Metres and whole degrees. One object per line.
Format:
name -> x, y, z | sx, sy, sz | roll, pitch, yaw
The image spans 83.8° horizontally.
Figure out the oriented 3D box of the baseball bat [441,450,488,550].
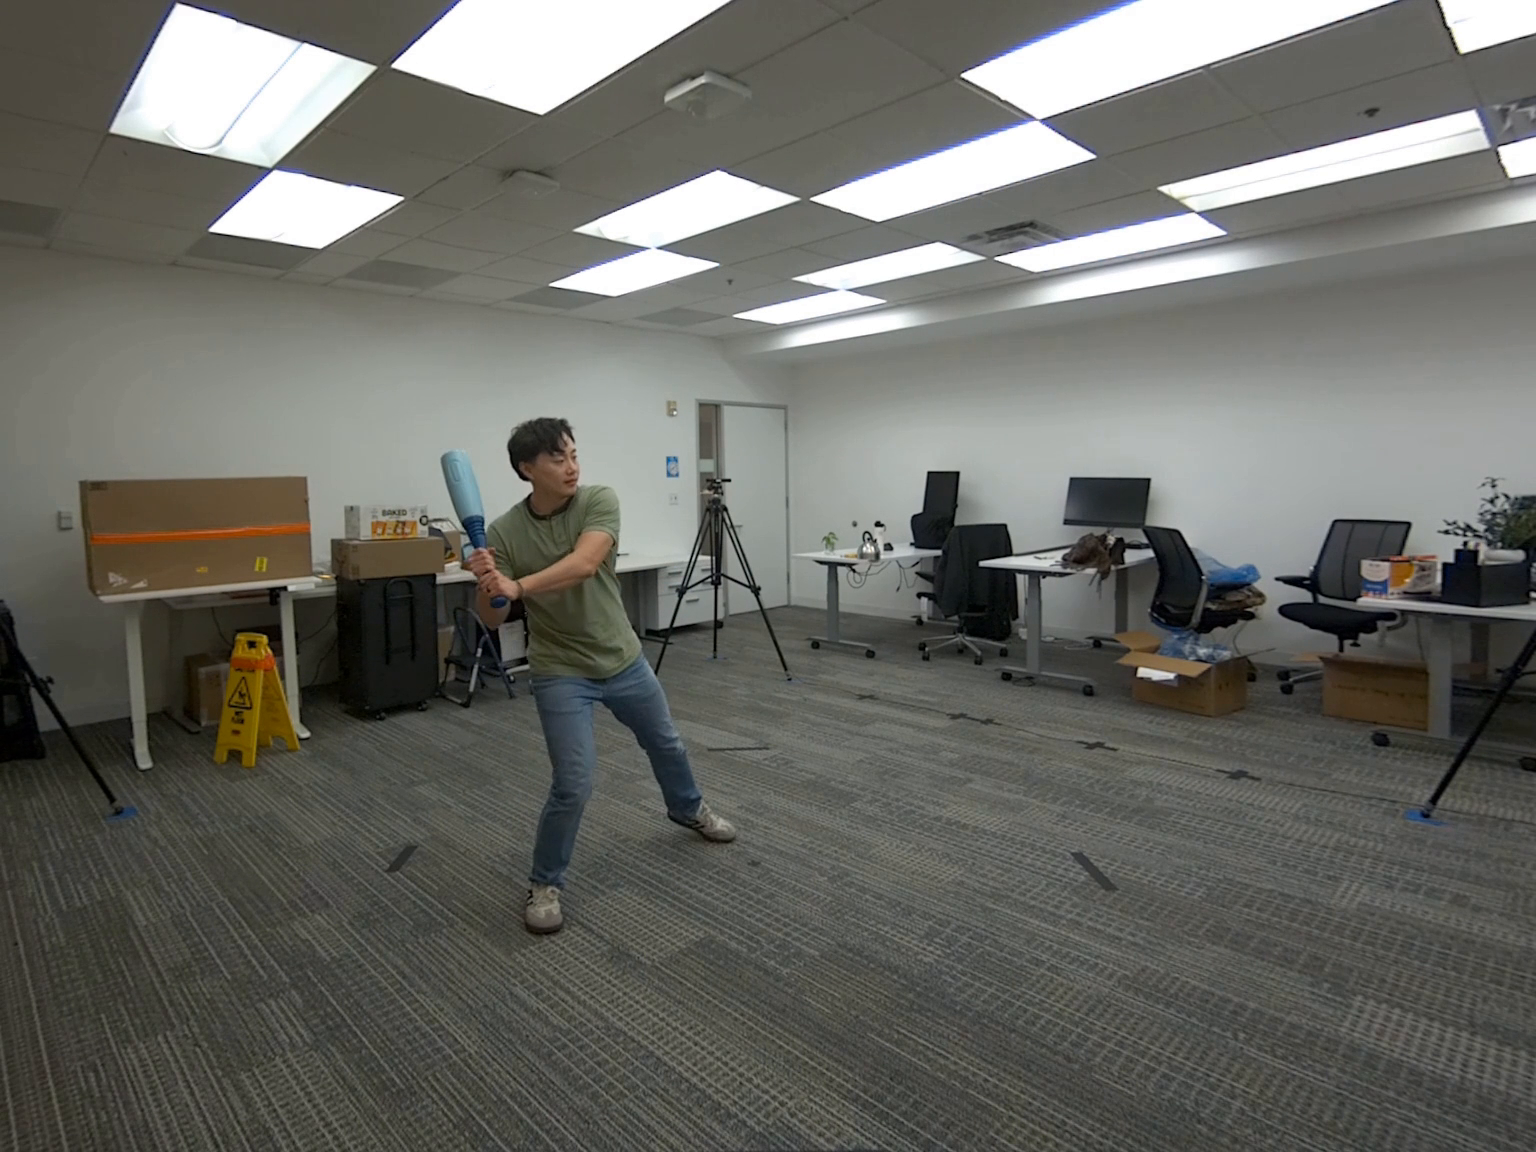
baseball bat -> -0.875, -0.137, 2.551 | 0.088, 0.558, 0.087 | -17, -25, -9
